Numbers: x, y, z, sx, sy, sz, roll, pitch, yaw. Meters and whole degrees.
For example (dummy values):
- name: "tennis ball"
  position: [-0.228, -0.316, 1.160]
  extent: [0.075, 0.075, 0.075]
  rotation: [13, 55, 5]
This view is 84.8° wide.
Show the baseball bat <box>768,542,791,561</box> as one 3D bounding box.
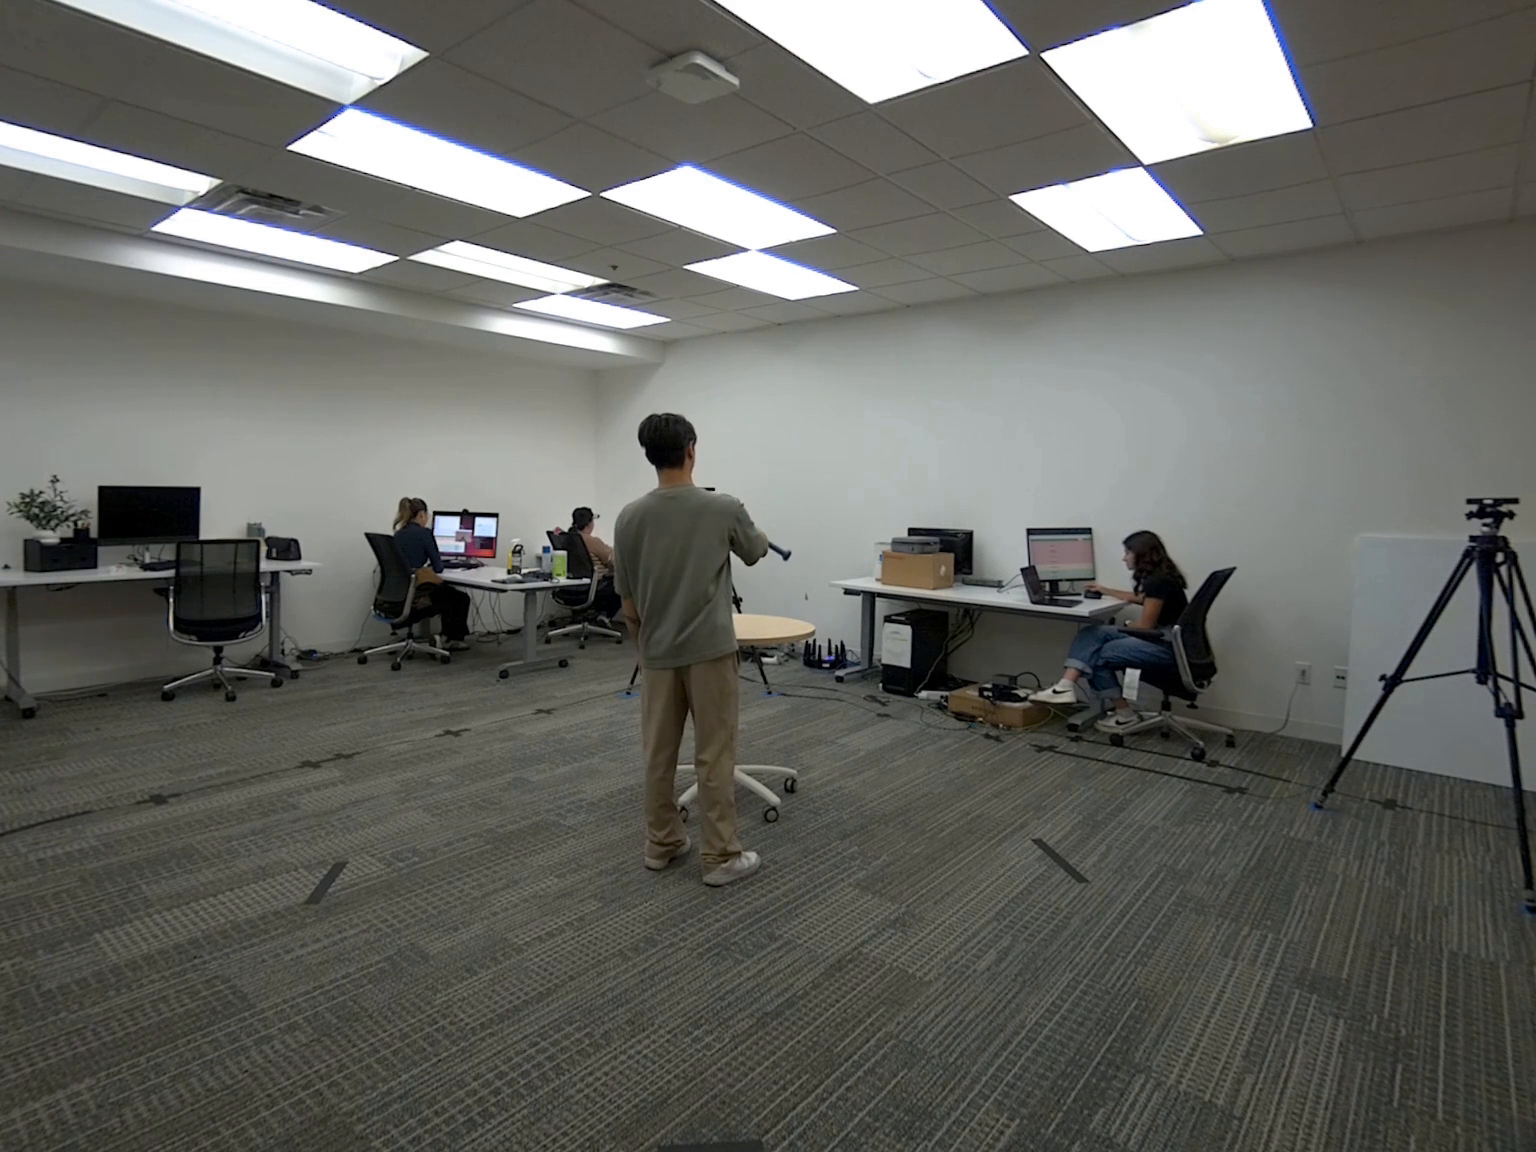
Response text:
- name: "baseball bat"
  position: [-0.143, -0.224, 3.607]
  extent: [0.545, 0.089, 0.089]
  rotation: [32, 5, 3]
